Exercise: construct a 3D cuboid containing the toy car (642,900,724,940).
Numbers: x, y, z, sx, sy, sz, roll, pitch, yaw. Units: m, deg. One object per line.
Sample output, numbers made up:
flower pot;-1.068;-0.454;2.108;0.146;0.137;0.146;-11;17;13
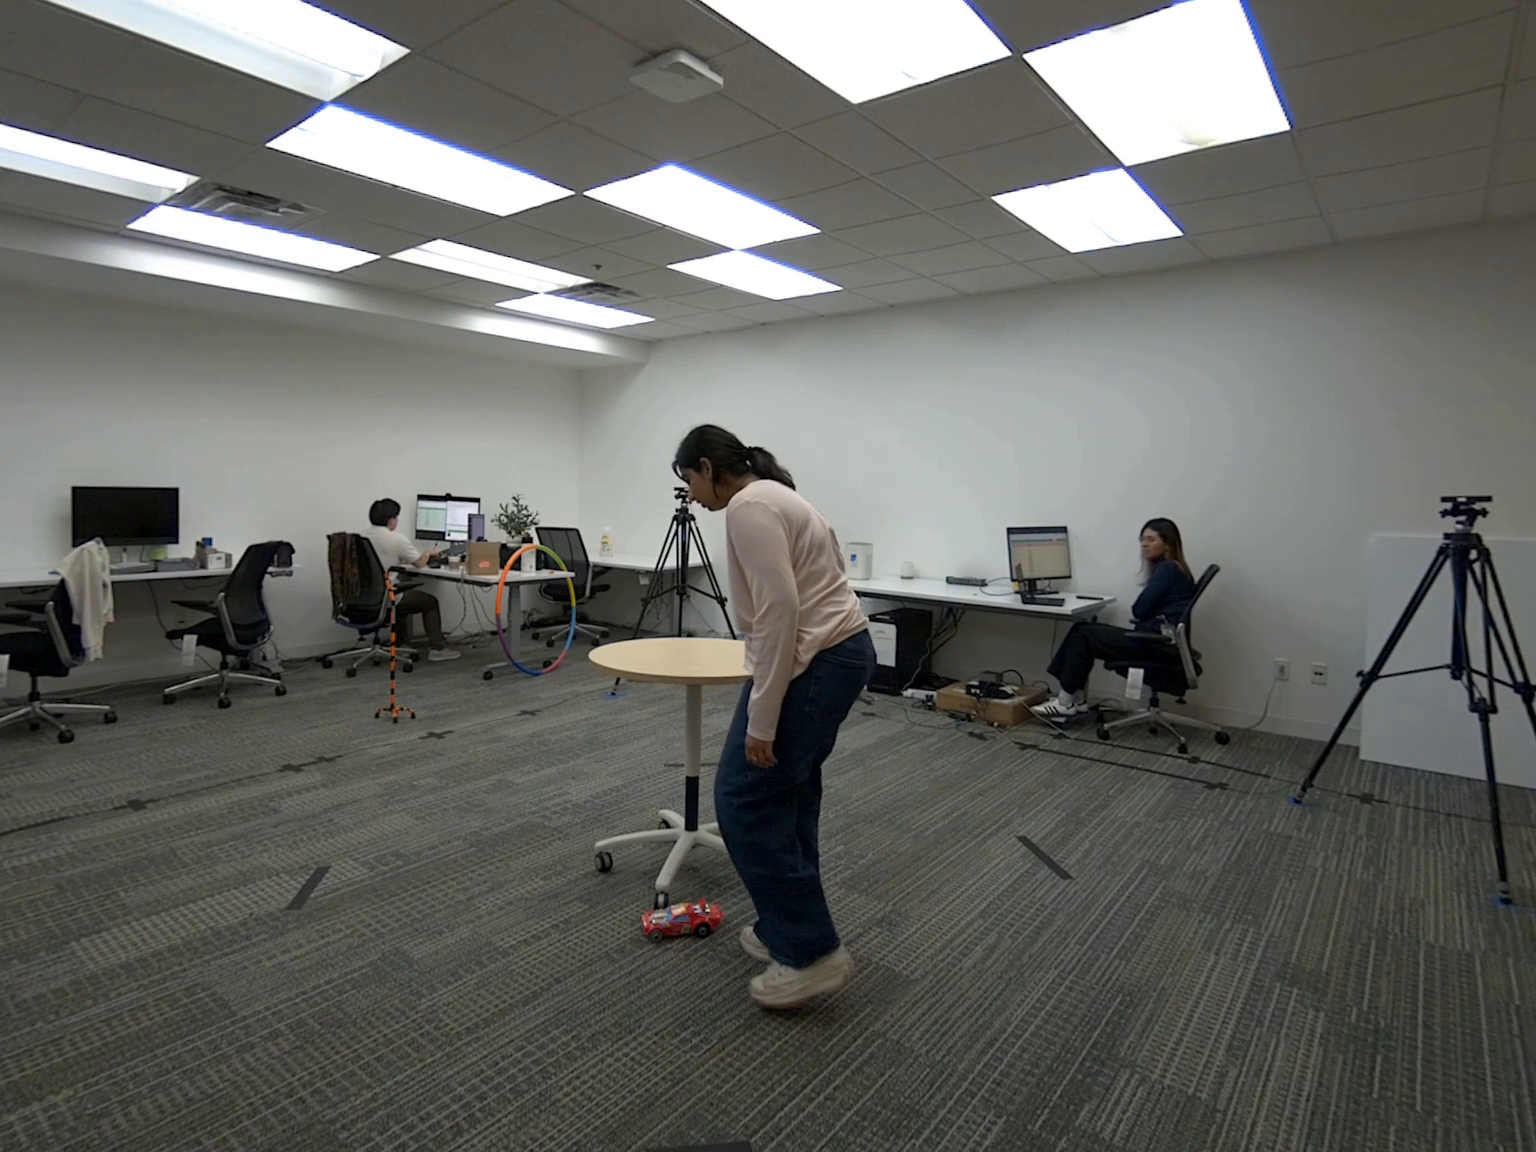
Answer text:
toy car;-0.268;1.075;2.664;0.252;0.082;0.133;-12;9;-14
